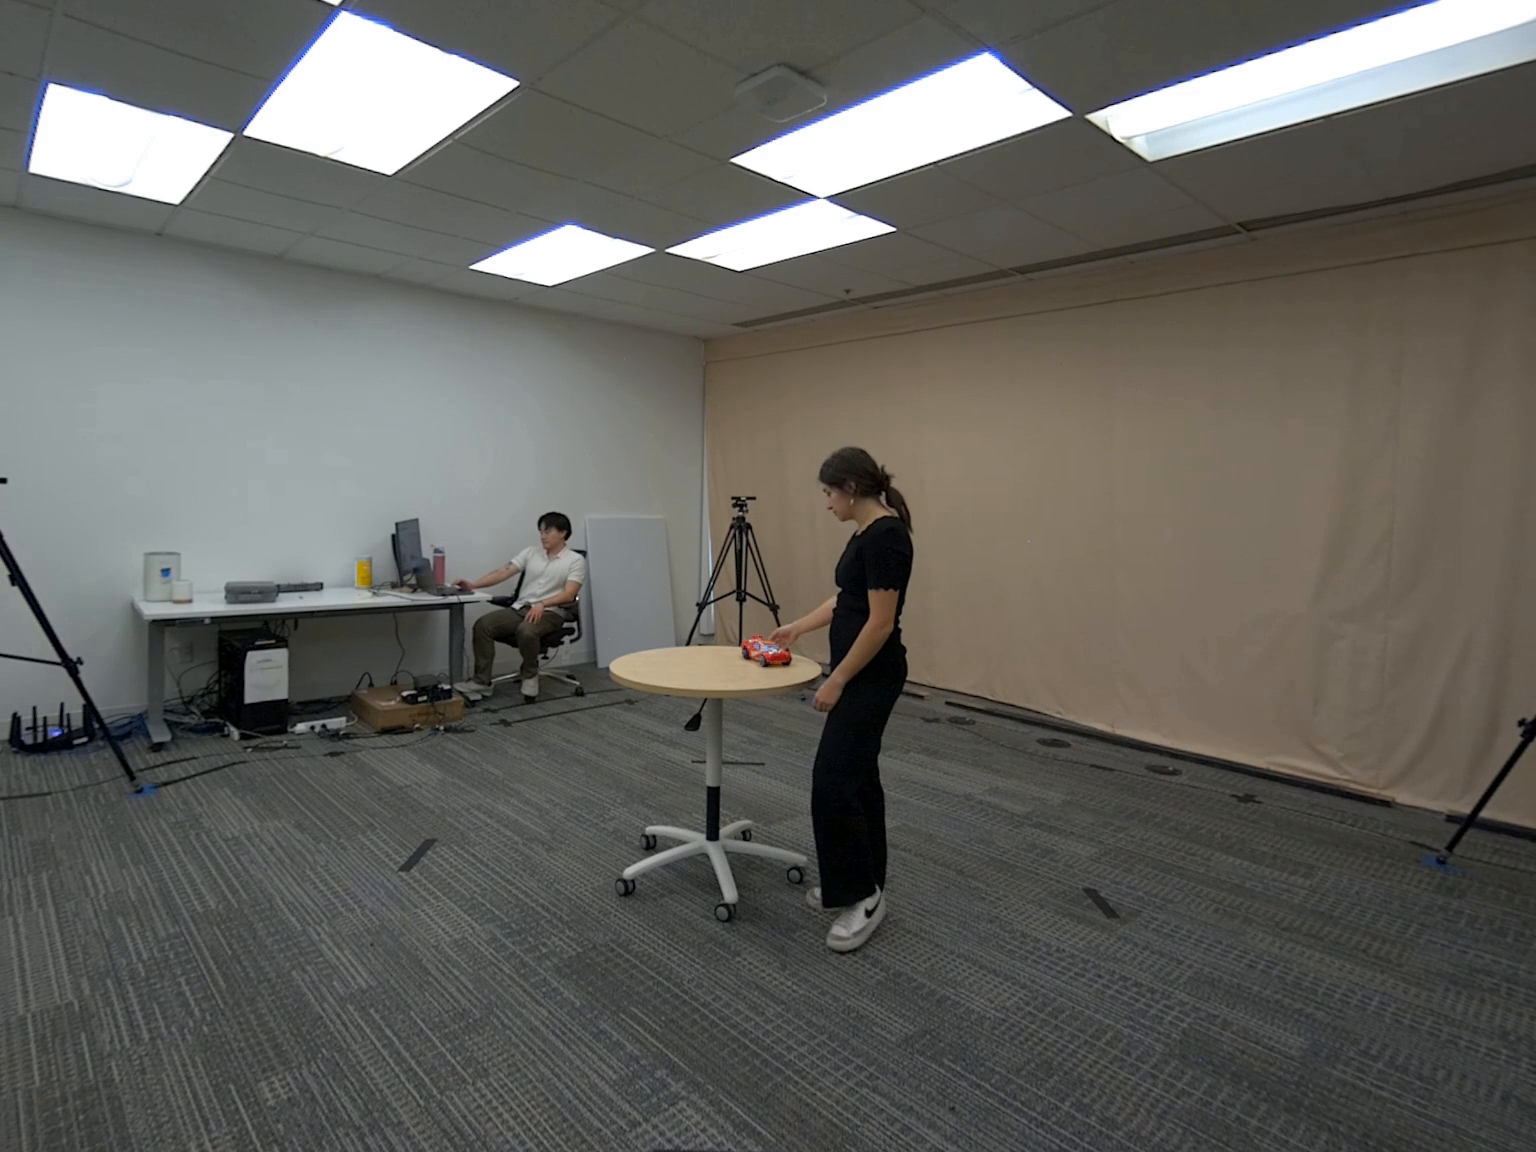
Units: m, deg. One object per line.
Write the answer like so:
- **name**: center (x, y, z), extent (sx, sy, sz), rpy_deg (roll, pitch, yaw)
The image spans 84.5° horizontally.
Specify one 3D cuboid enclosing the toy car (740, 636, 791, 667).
- **toy car**: center (-0.027, 0.284, 3.151), extent (0.128, 0.082, 0.261), rpy_deg (-1, 17, -24)
